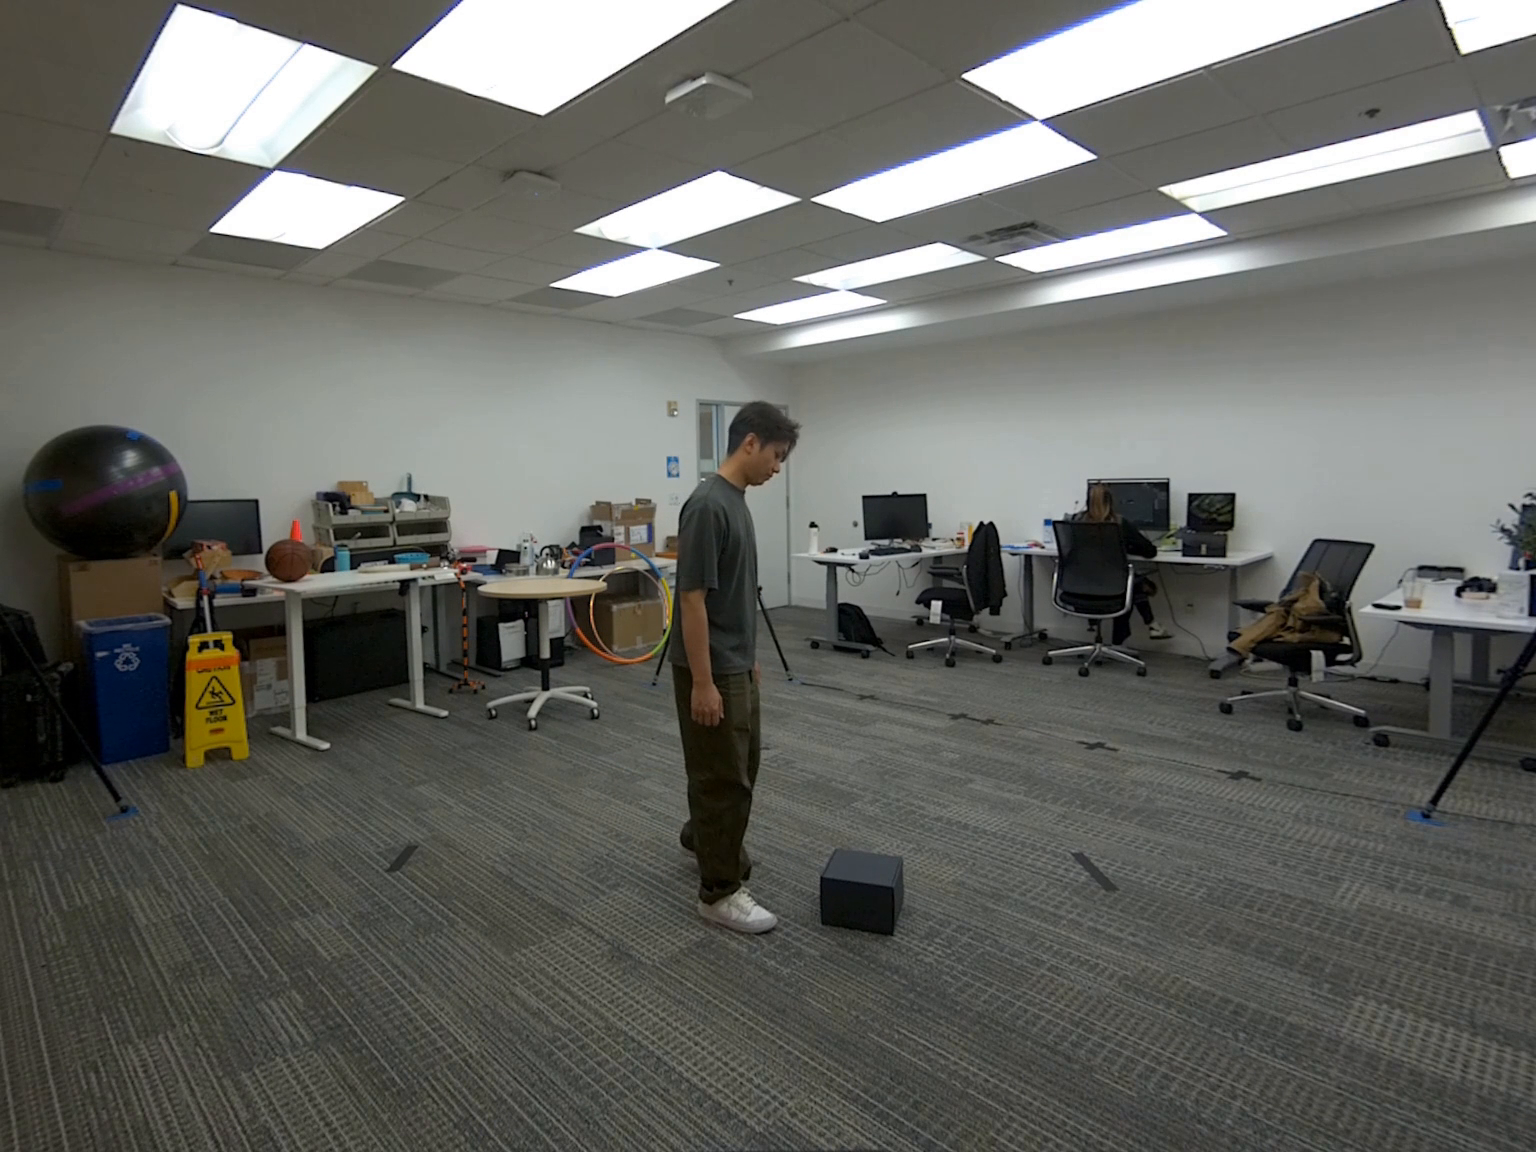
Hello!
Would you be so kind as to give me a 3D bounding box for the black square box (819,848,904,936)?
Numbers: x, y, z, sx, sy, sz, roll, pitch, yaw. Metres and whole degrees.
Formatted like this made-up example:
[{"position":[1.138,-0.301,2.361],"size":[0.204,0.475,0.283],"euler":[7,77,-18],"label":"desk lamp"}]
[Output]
[{"position":[0.311,0.997,2.727],"size":[0.232,0.155,0.214],"euler":[1,6,18],"label":"black square box"}]
